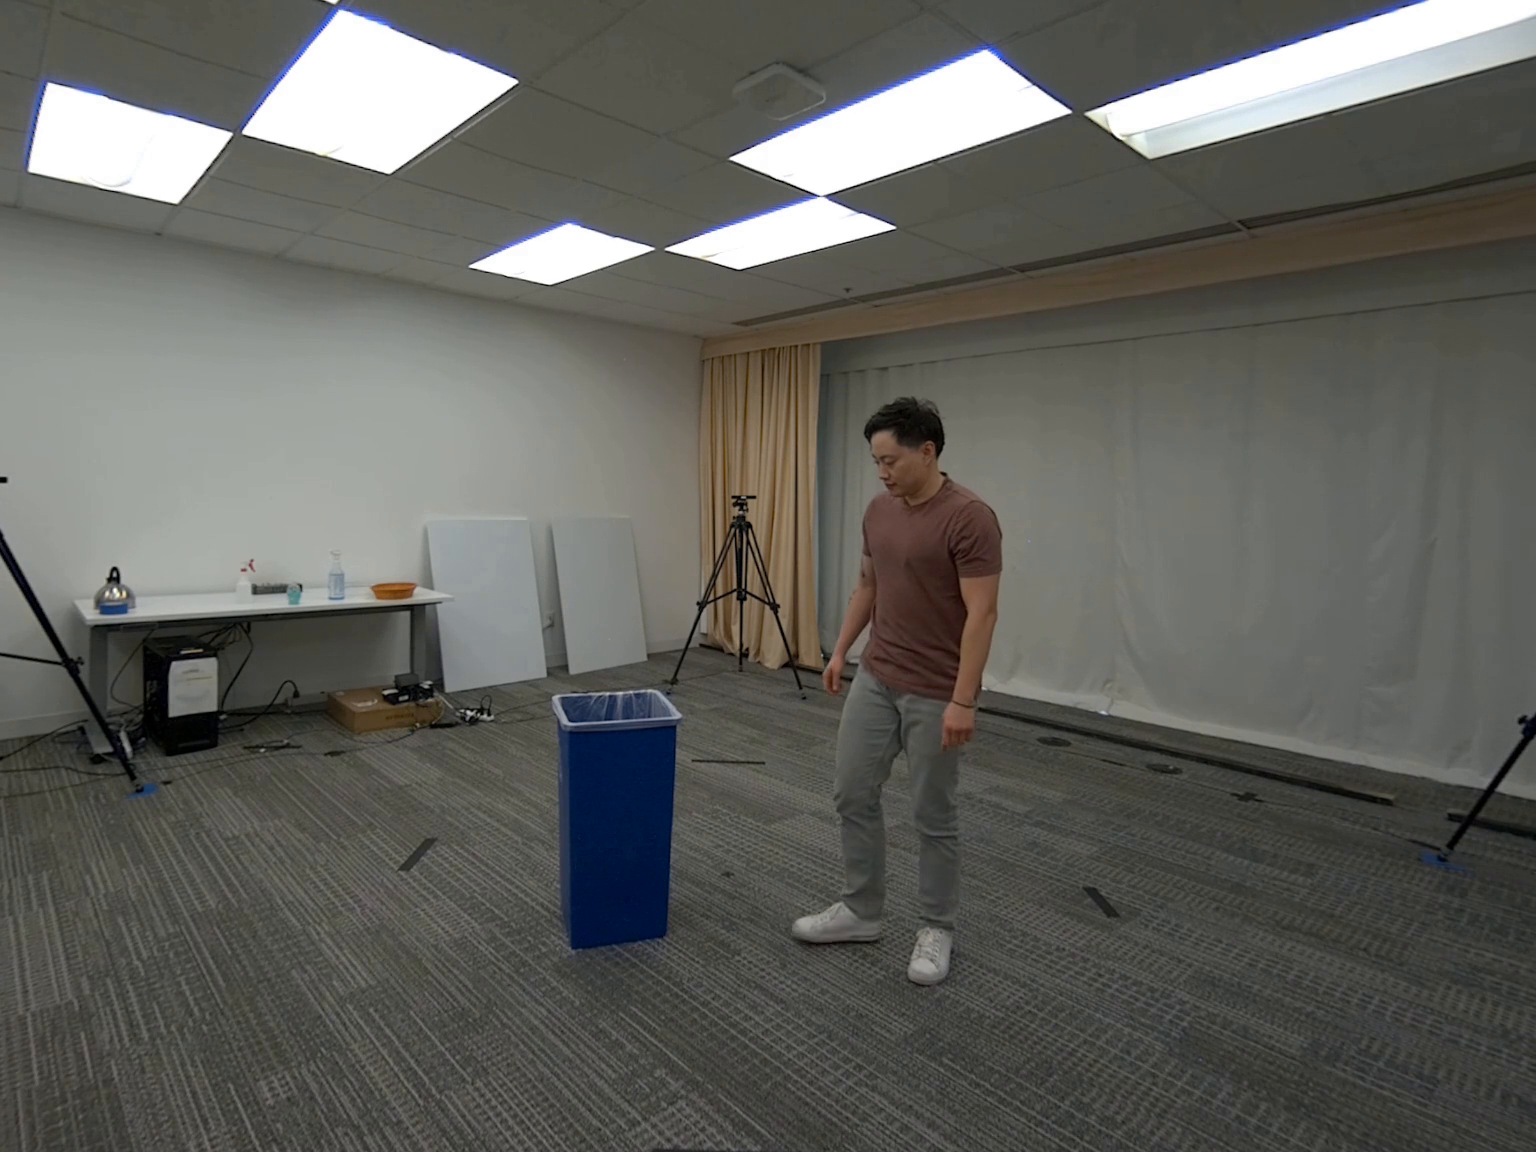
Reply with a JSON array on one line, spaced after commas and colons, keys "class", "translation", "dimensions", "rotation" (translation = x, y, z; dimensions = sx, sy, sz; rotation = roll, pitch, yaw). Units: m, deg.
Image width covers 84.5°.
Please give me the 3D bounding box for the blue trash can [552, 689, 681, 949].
[{"class": "blue trash can", "translation": [-0.502, 0.773, 2.726], "dimensions": [0.372, 0.712, 0.380], "rotation": [-1, 4, -20]}]
